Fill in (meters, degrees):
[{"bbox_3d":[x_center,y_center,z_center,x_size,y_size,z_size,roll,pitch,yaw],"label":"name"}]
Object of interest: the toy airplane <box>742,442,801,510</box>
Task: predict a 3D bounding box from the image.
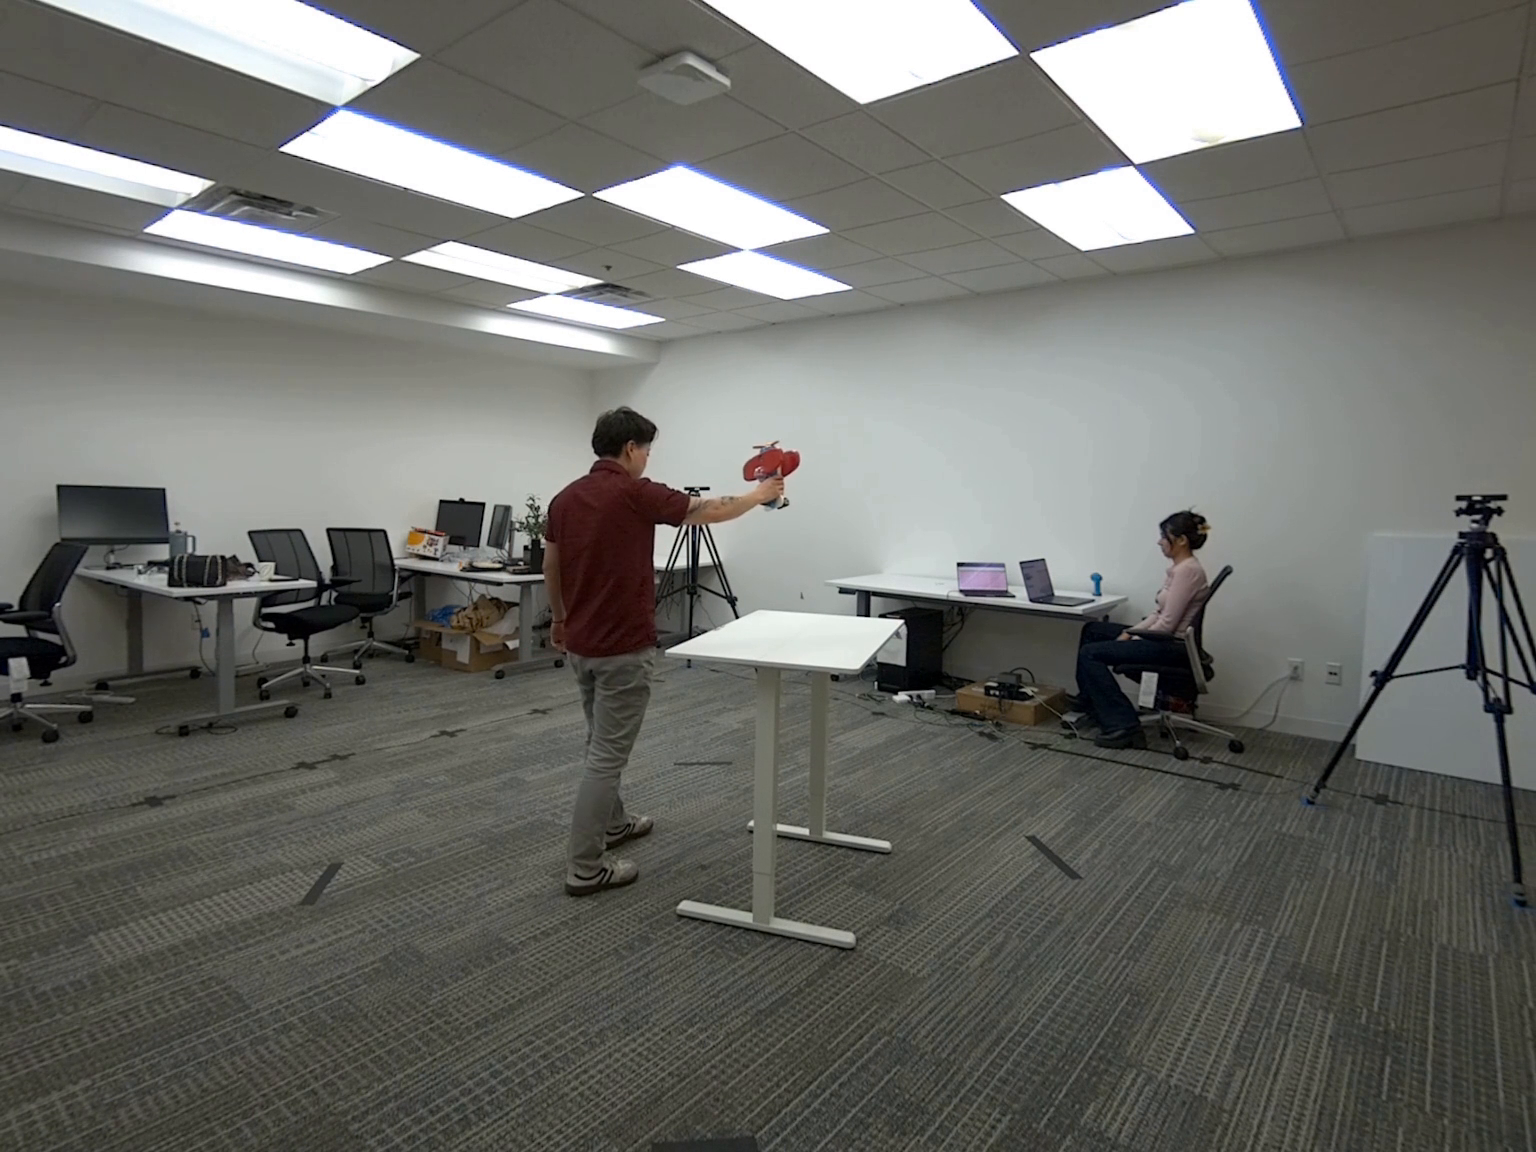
[{"bbox_3d":[0.020,-0.395,3.284,0.151,0.268,0.251,22,-51,-29],"label":"toy airplane"}]
